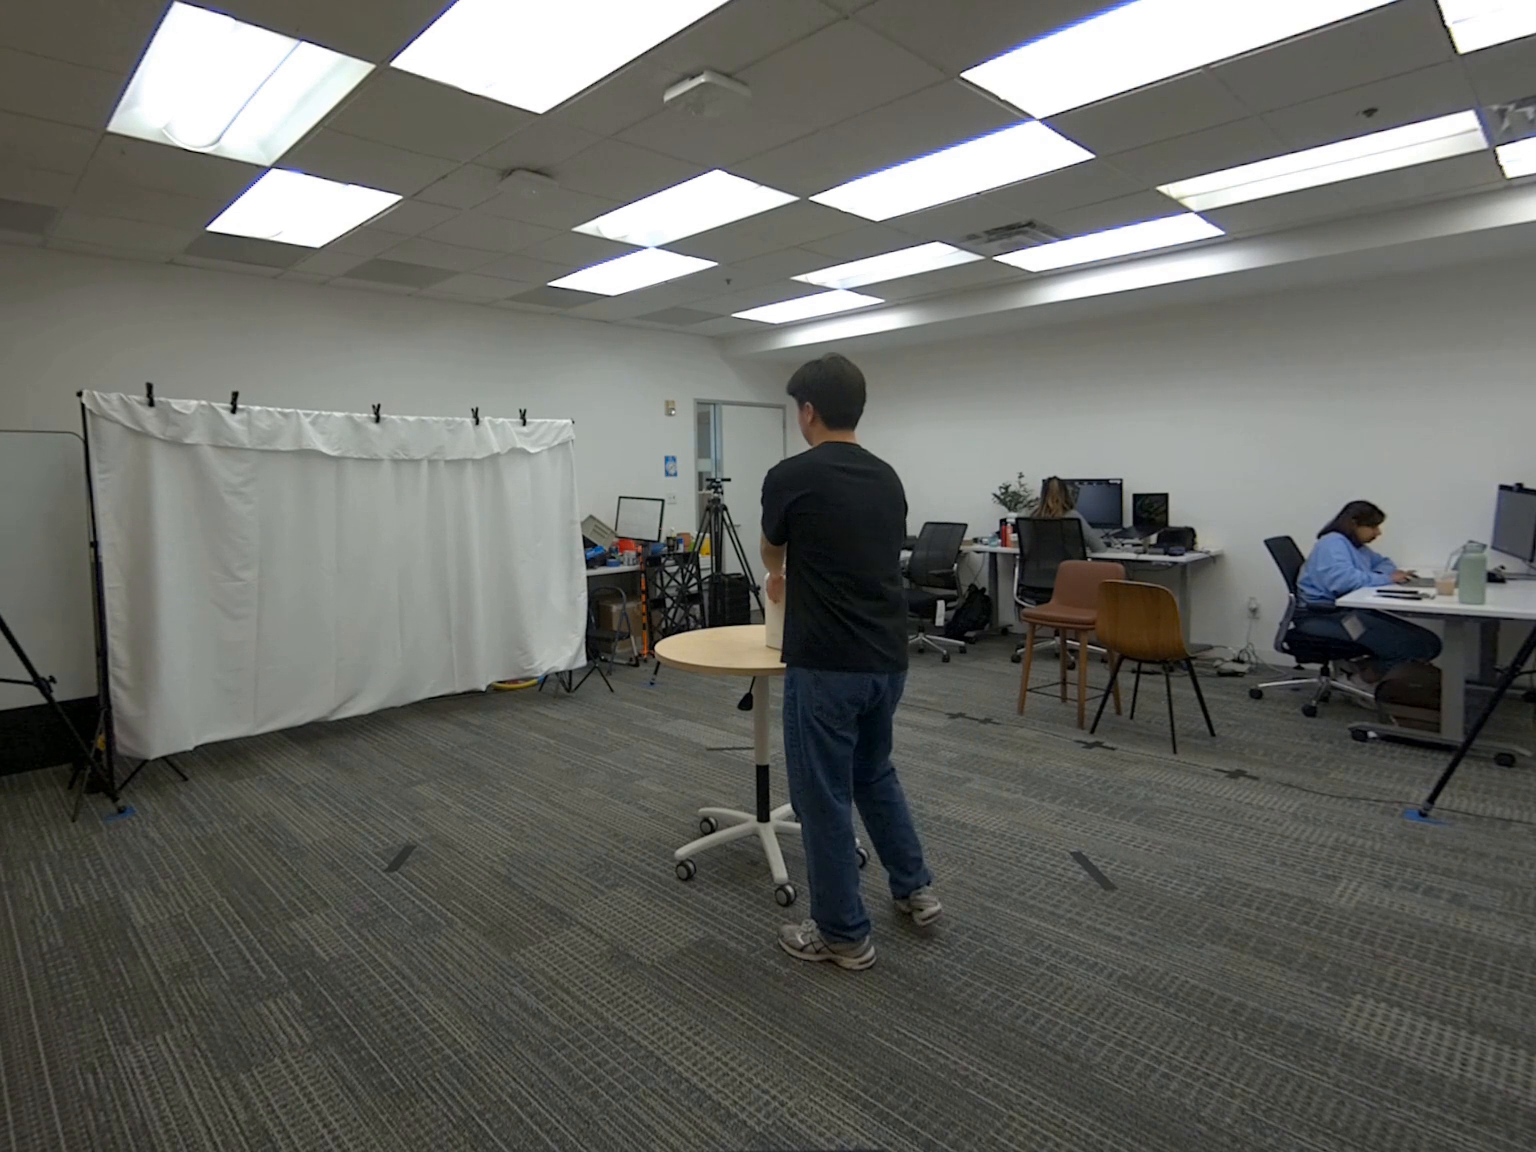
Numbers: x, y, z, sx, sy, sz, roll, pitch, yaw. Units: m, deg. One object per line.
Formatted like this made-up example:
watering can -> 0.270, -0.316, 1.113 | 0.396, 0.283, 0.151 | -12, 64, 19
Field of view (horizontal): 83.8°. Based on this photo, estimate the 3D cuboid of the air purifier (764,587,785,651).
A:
air purifier -> 0.094, 0.117, 3.046 | 0.168, 0.264, 0.175 | -3, 5, -28
